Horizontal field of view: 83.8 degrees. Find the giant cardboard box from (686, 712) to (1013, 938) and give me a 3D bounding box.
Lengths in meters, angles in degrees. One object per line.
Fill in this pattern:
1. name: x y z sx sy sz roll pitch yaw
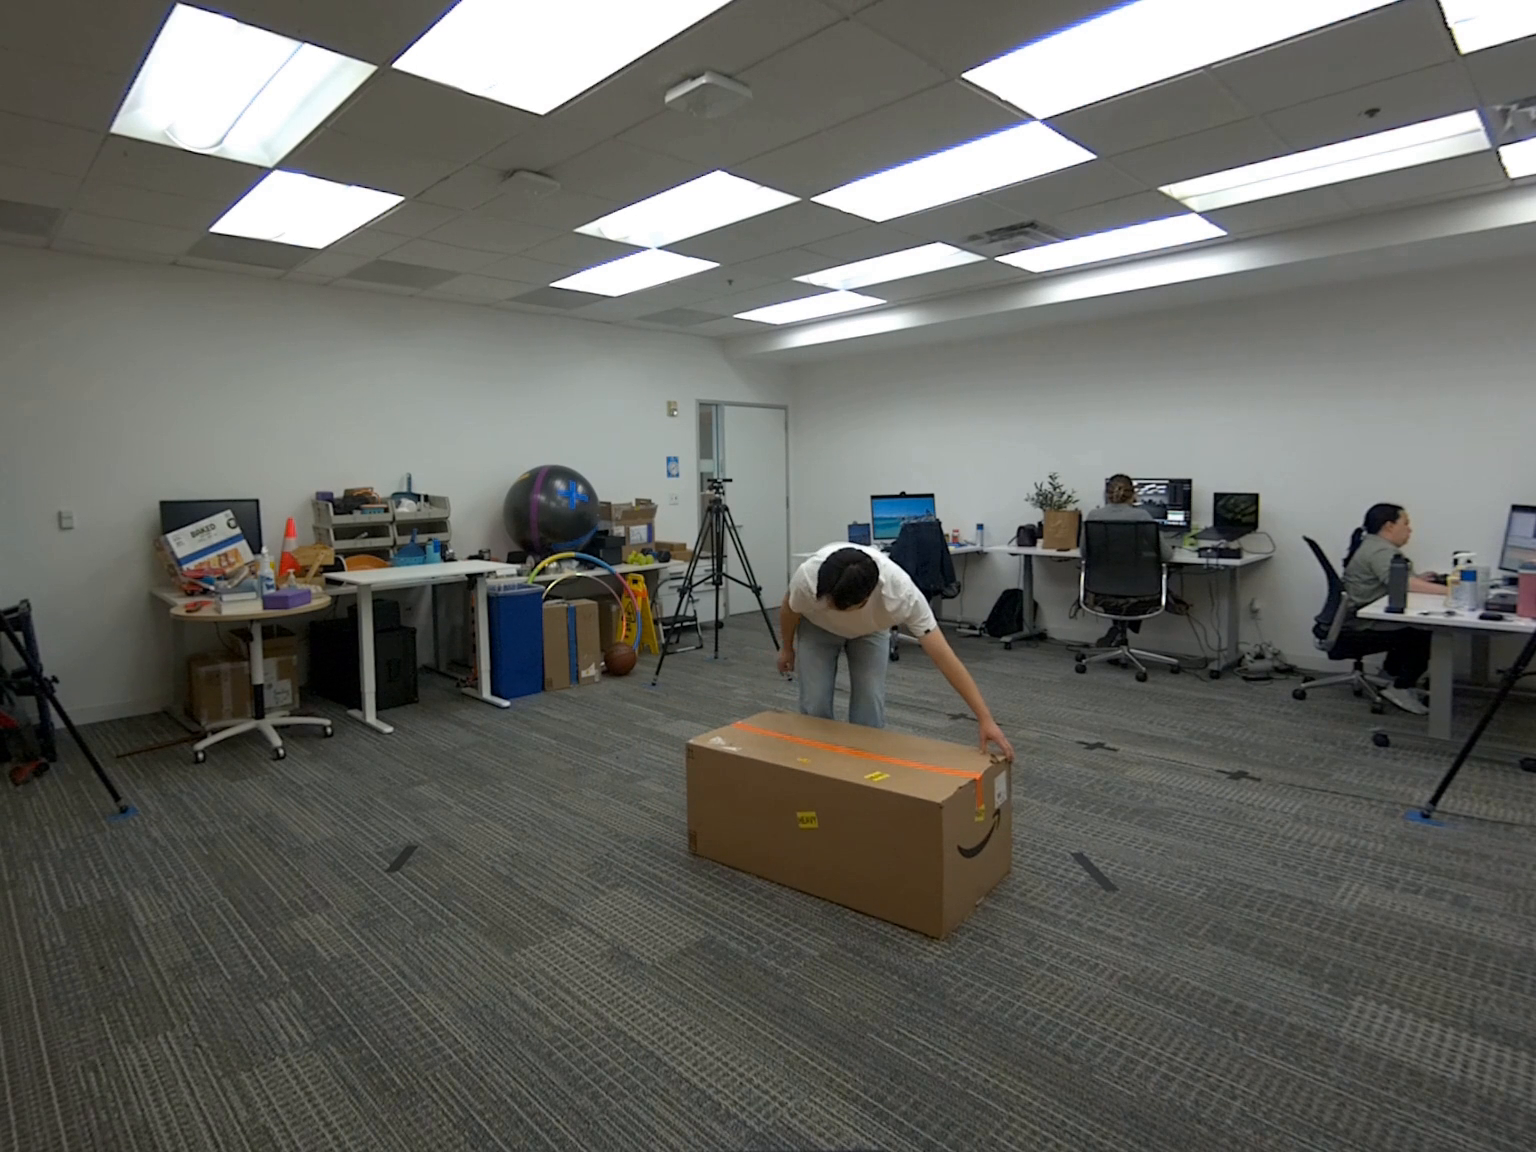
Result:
1. giant cardboard box: 0.272 0.827 3.095 1.056 0.424 0.563 4 7 37
